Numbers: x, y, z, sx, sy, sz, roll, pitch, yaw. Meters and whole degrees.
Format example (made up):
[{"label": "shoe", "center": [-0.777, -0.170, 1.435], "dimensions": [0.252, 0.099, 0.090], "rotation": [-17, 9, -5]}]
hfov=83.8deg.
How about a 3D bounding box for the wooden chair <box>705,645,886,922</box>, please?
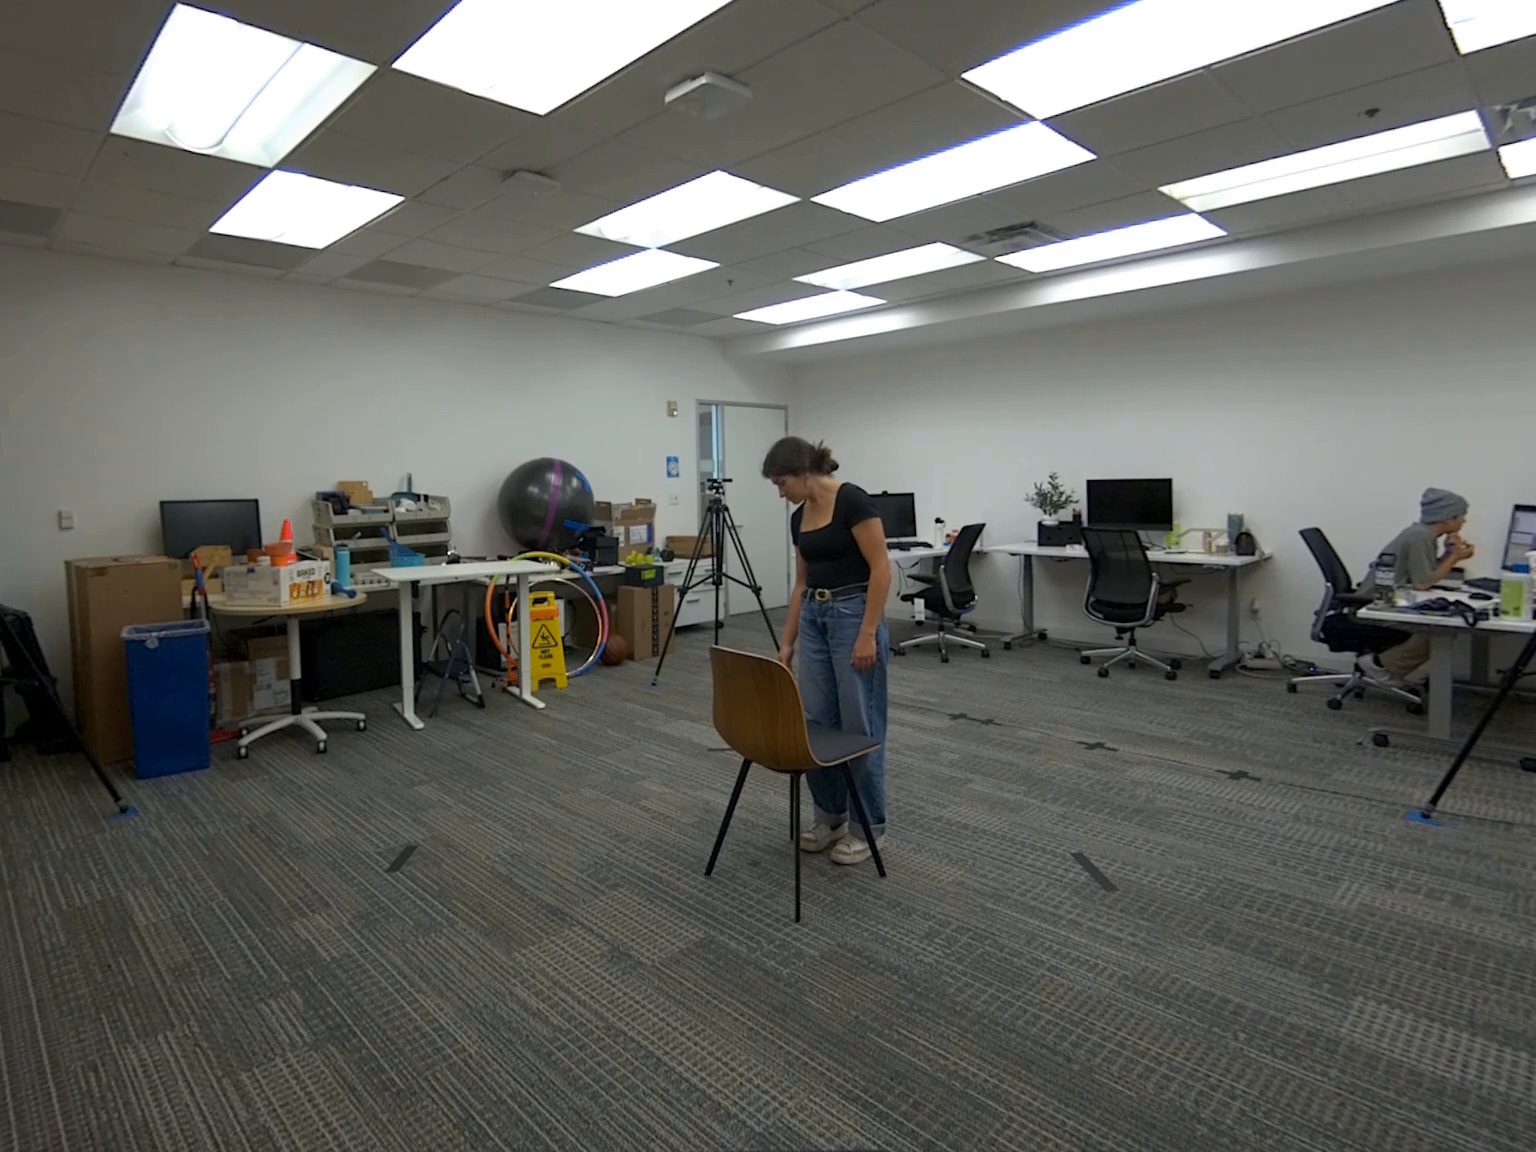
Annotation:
[{"label": "wooden chair", "center": [0.091, 0.635, 2.968], "dimensions": [0.510, 0.872, 0.493], "rotation": [-10, 9, -43]}]
